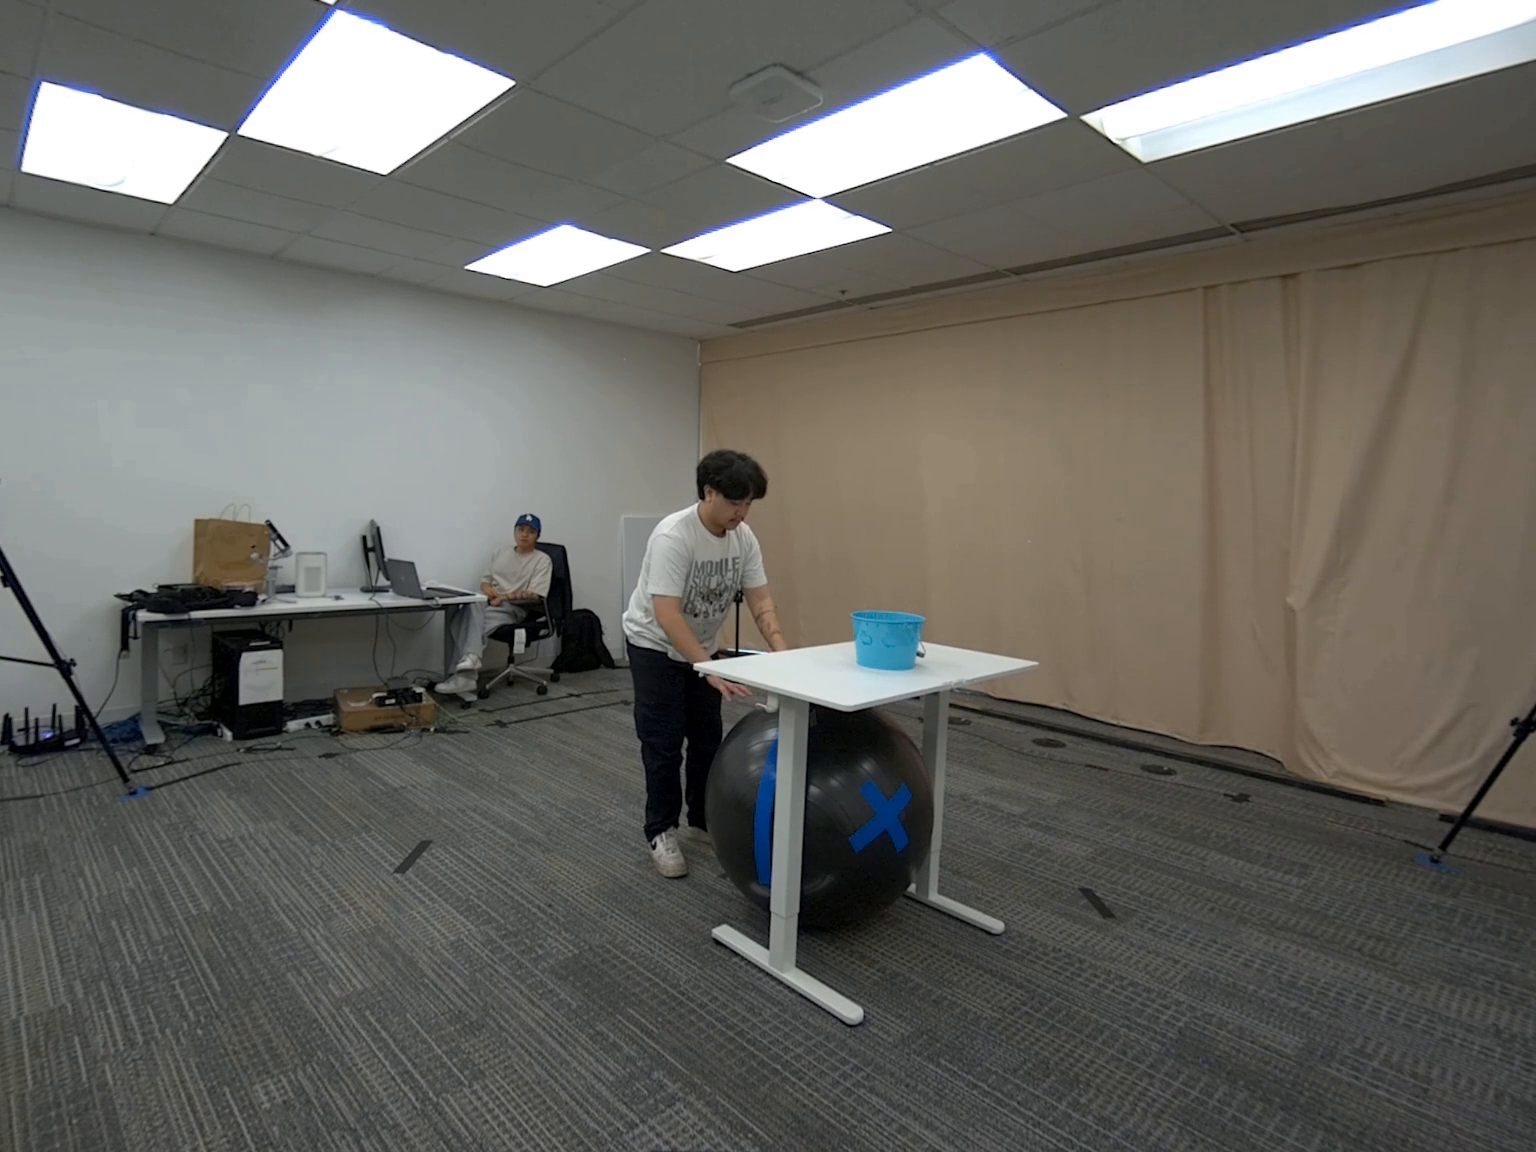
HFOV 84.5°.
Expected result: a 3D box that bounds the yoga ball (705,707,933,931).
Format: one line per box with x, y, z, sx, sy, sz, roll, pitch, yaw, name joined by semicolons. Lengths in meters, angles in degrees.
0.171;0.777;2.826;0.757;0.756;0.761;1;4;-1;yoga ball
